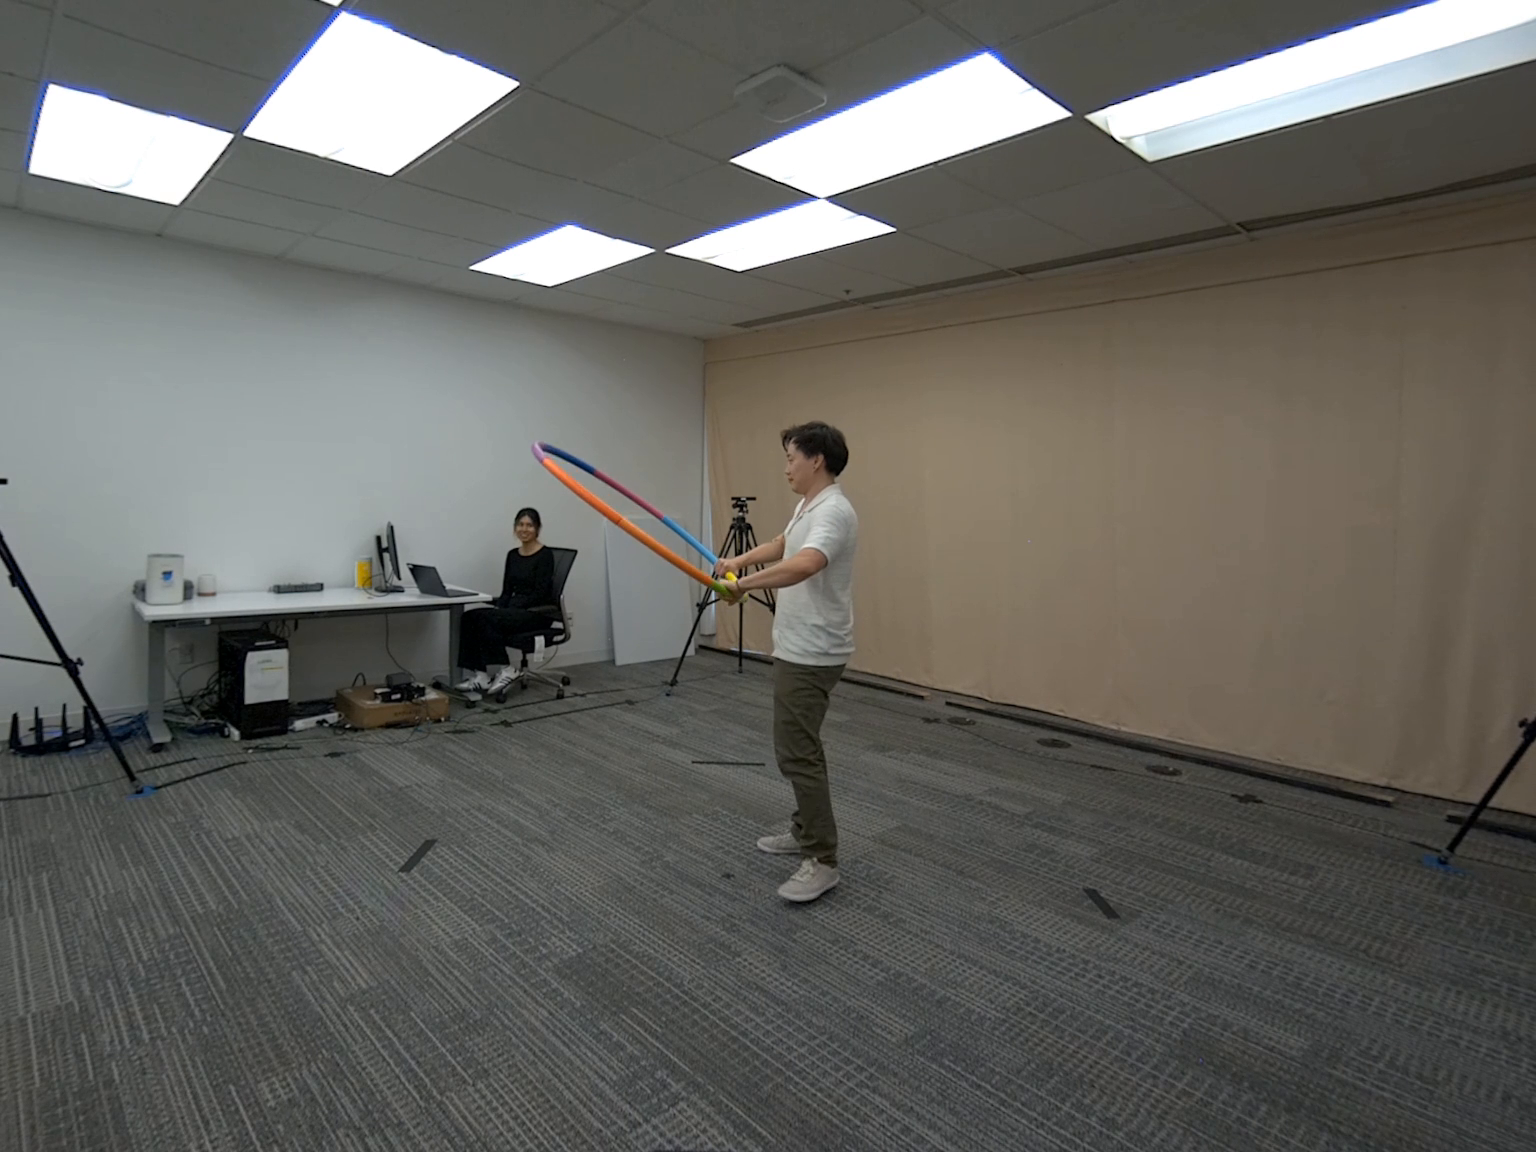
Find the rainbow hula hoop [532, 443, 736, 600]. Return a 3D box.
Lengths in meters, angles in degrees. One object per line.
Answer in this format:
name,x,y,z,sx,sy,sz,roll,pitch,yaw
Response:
rainbow hula hoop,-0.449,-0.202,3.137,0.975,0.035,0.983,35,4,-5
